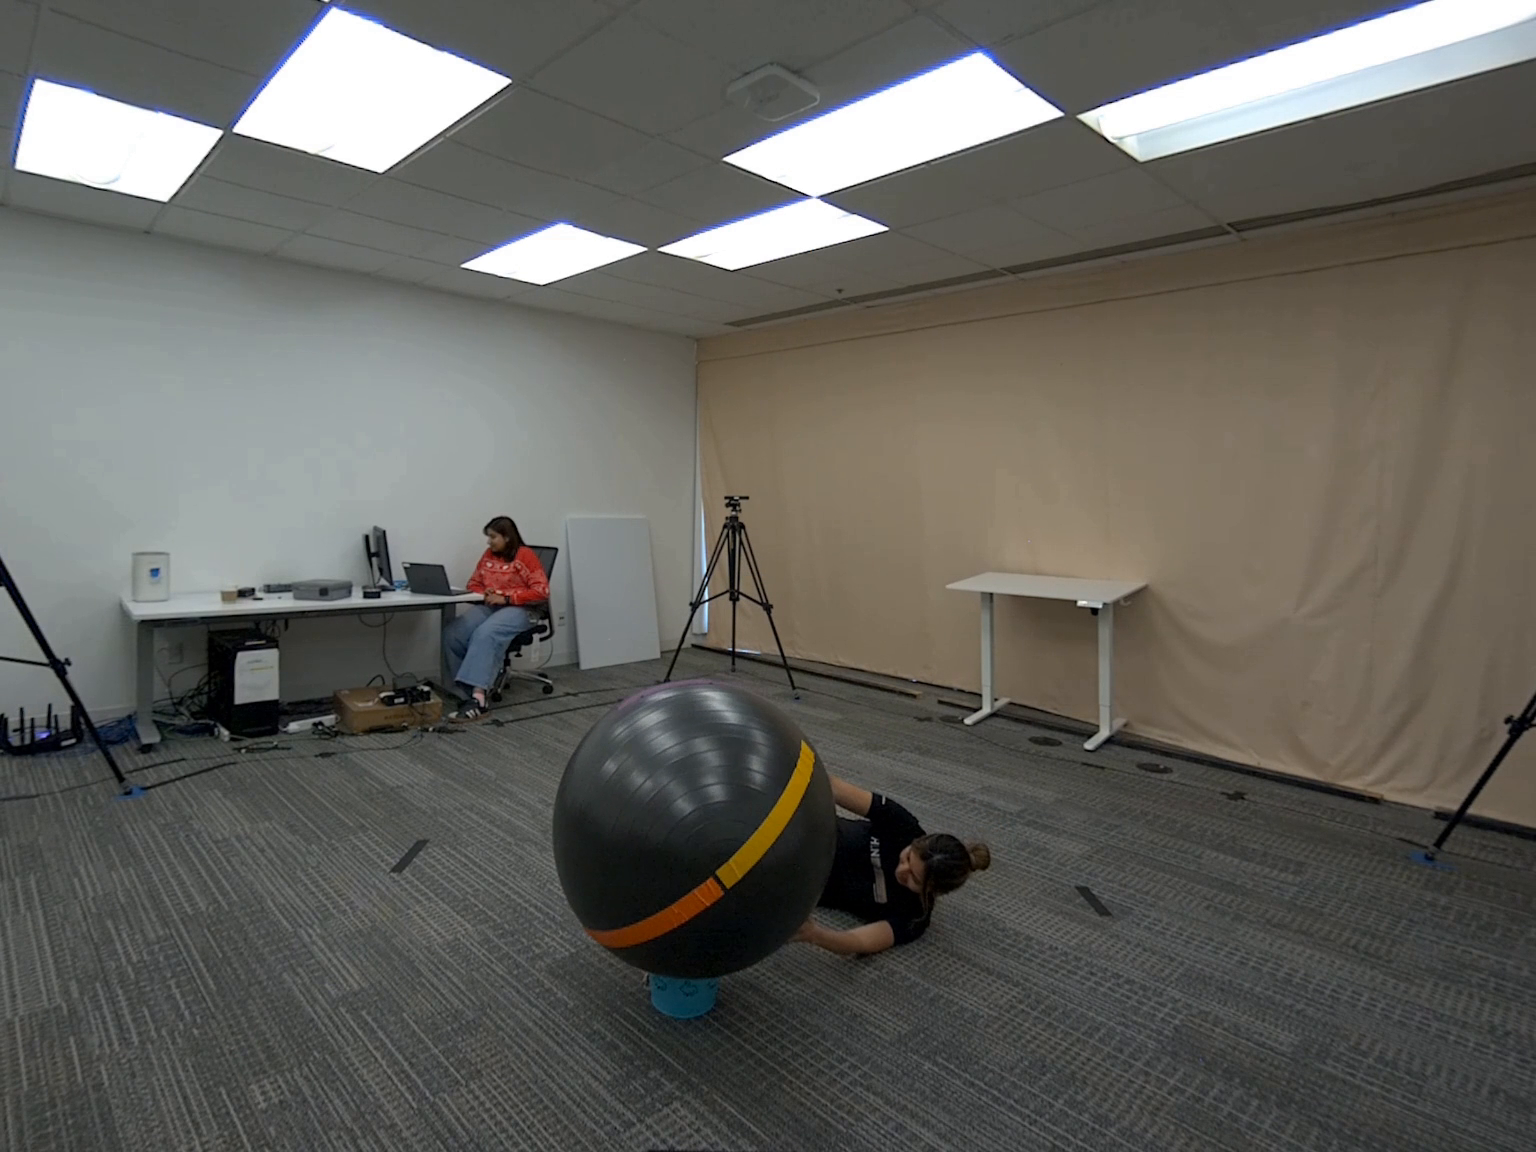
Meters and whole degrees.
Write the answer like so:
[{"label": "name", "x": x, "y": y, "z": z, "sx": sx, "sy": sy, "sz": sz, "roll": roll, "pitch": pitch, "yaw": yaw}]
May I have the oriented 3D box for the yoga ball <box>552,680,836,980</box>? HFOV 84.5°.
[{"label": "yoga ball", "x": -0.197, "y": 0.670, "z": 2.265, "sx": 0.757, "sy": 0.756, "sz": 0.761, "roll": 1, "pitch": 4, "yaw": -1}]
